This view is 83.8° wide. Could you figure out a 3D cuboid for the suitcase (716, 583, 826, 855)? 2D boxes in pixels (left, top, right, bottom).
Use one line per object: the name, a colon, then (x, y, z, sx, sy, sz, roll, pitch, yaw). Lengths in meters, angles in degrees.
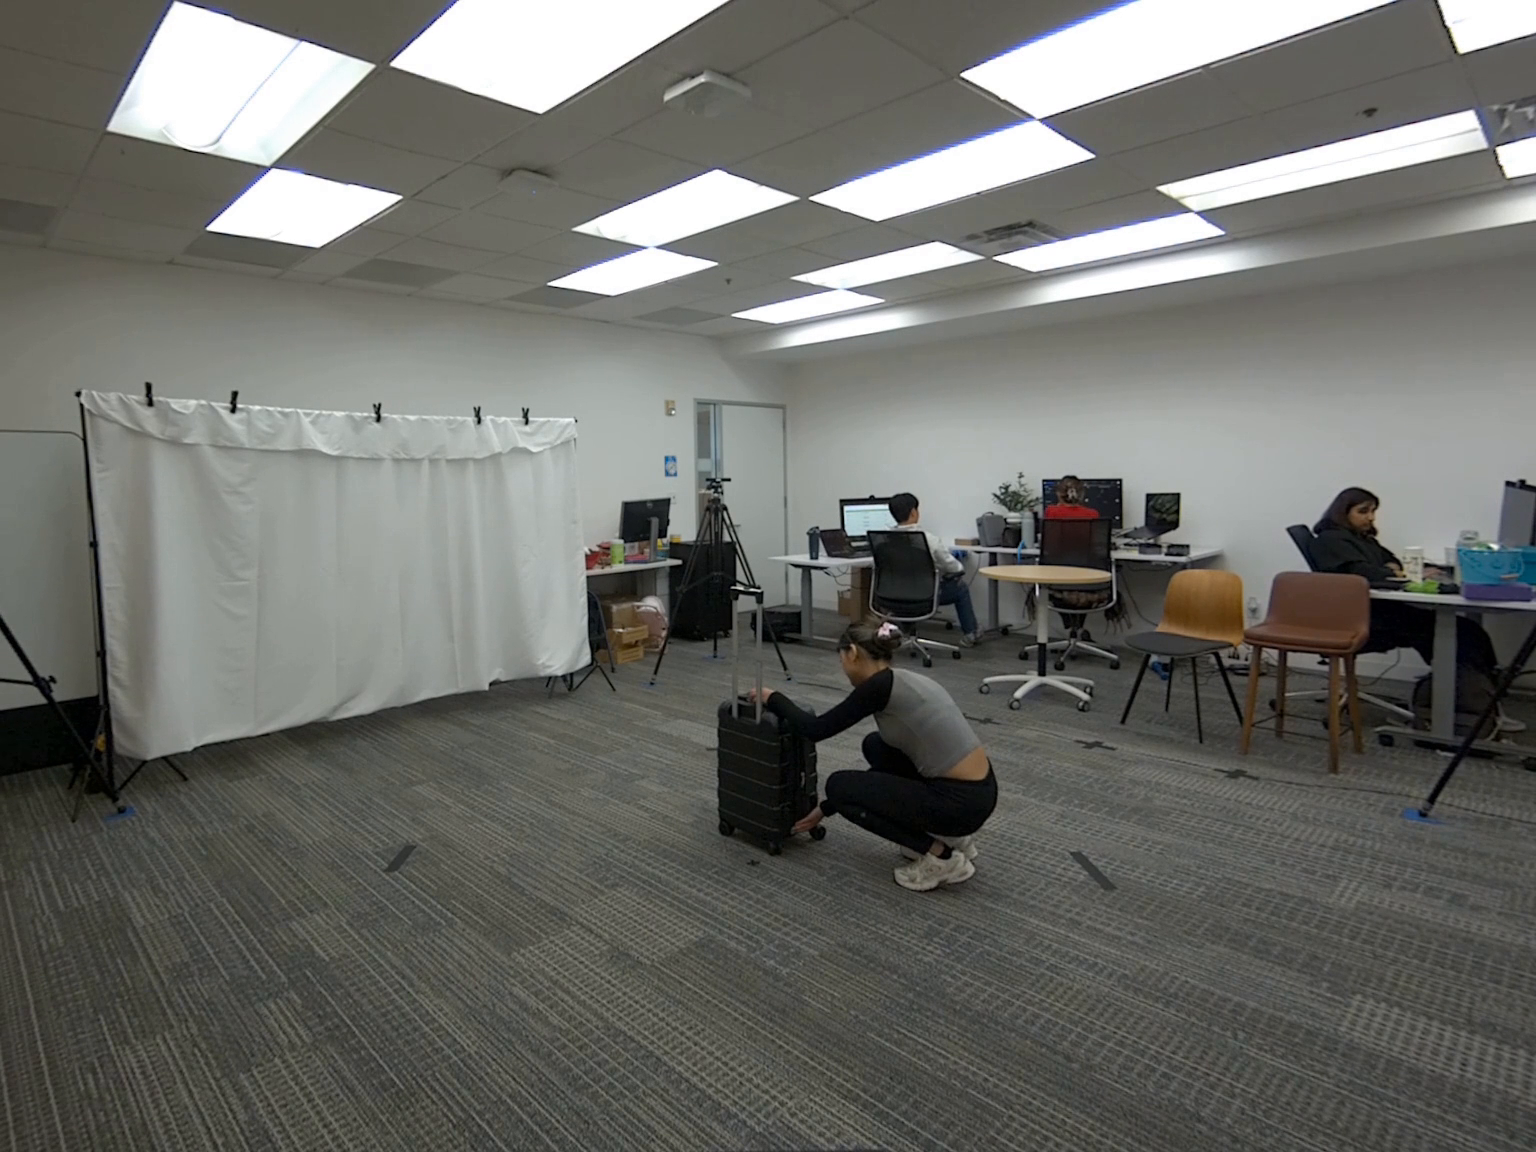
suitcase: (-0.006, 0.541, 3.317, 0.396, 0.976, 0.250, 3, 4, 45)
